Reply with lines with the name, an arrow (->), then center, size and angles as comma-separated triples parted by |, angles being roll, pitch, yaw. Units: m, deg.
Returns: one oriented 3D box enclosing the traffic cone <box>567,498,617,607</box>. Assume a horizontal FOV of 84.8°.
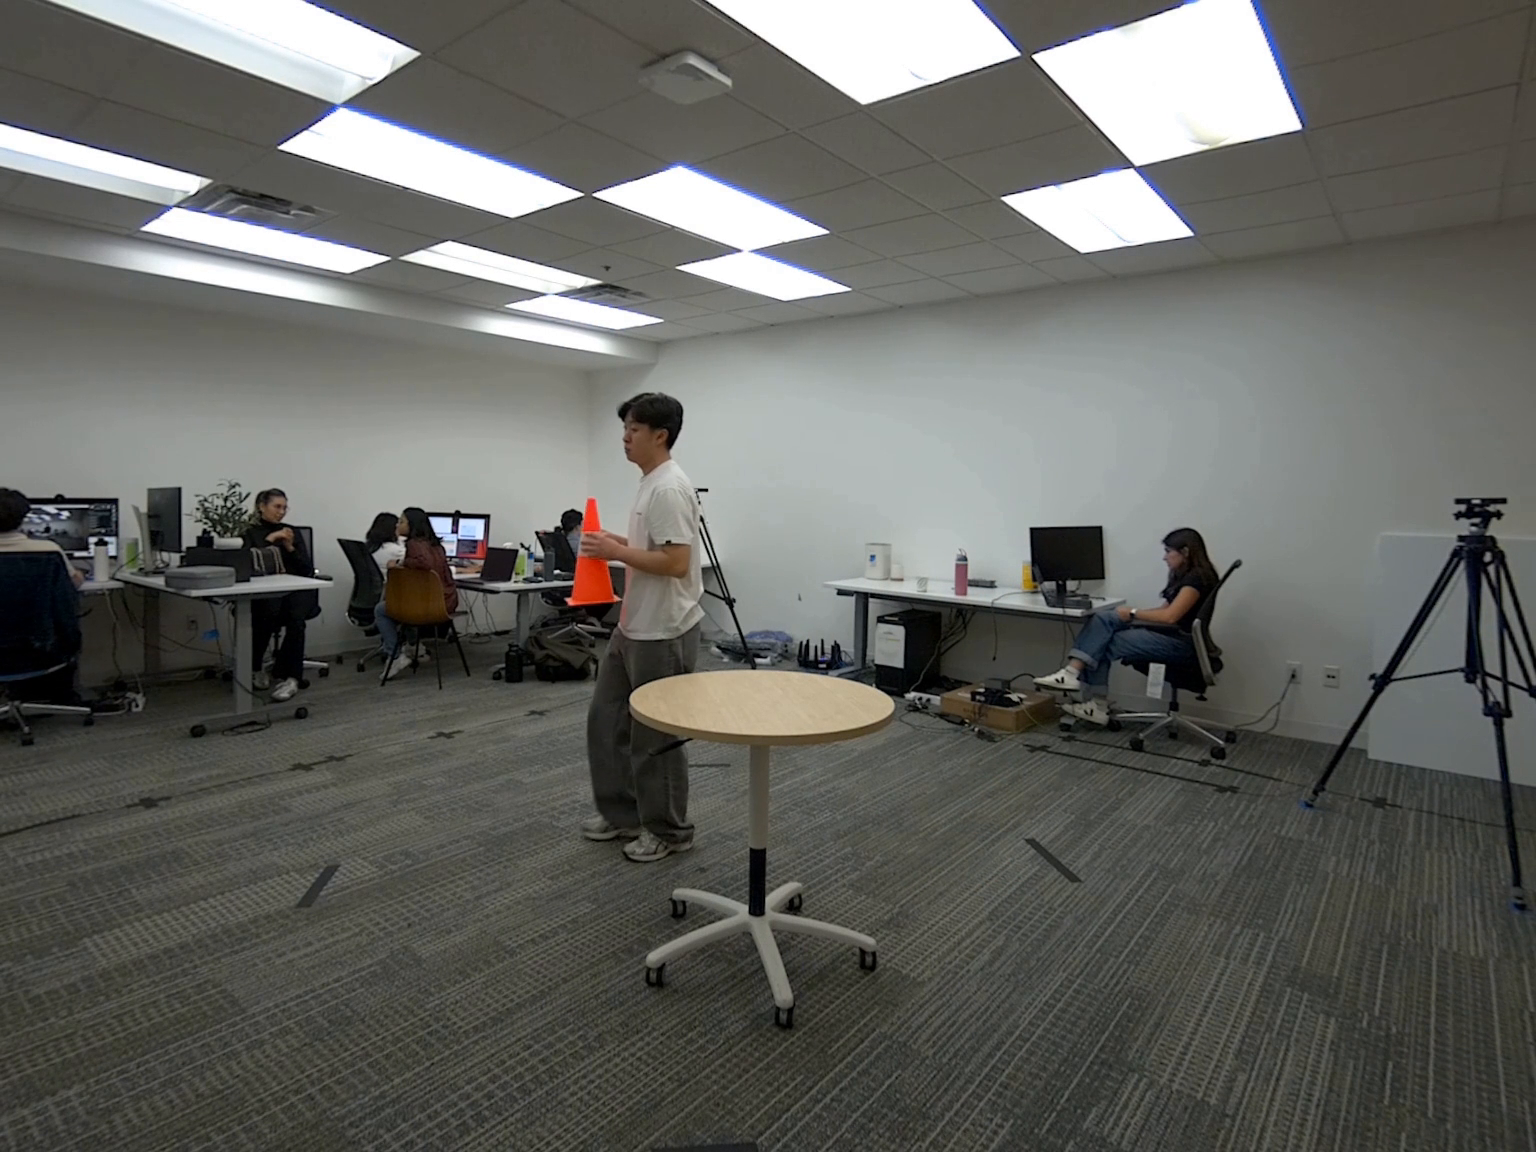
traffic cone -> -0.671, -0.108, 3.176 | 0.201, 0.381, 0.208 | -4, 7, -20
